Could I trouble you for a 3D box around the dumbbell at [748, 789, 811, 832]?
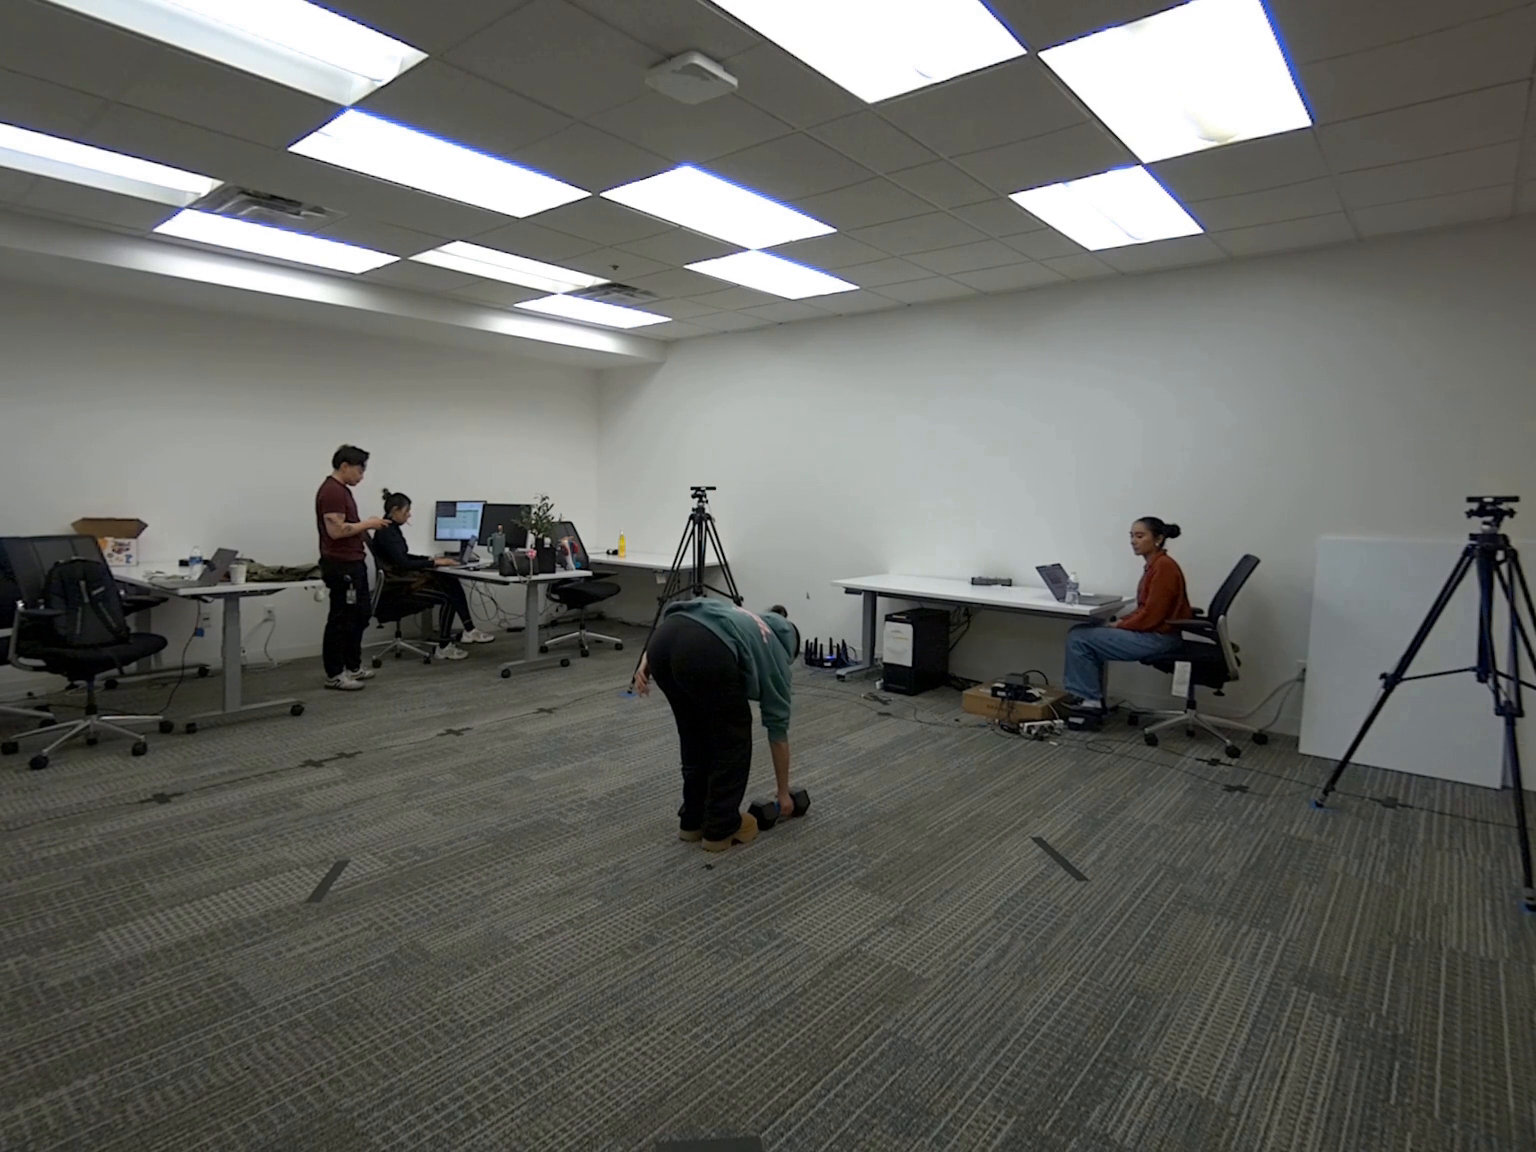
[{"bbox_3d":[0.041,0.971,3.573,0.285,0.125,0.110,-5,-23,-47],"label":"dumbbell"}]
